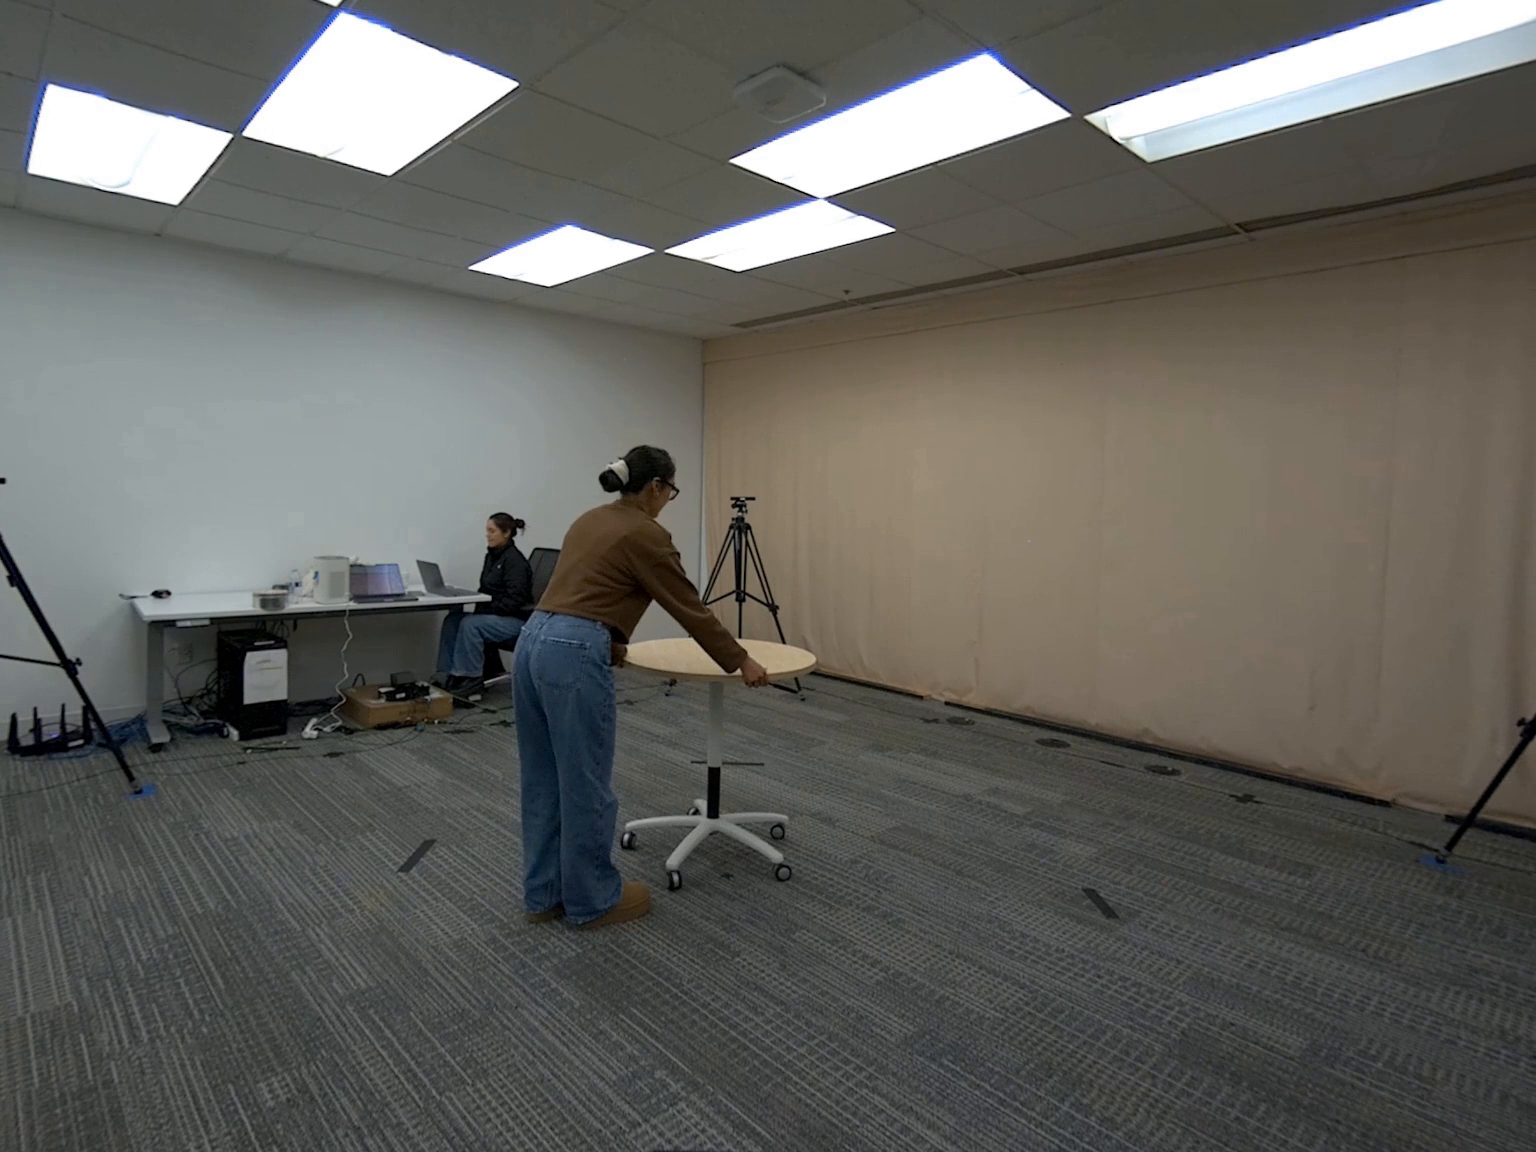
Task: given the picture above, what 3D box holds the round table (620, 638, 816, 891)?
[{"bbox_3d":[-0.215,0.699,3.279,0.763,0.792,0.766,2,4,-2],"label":"round table"}]
